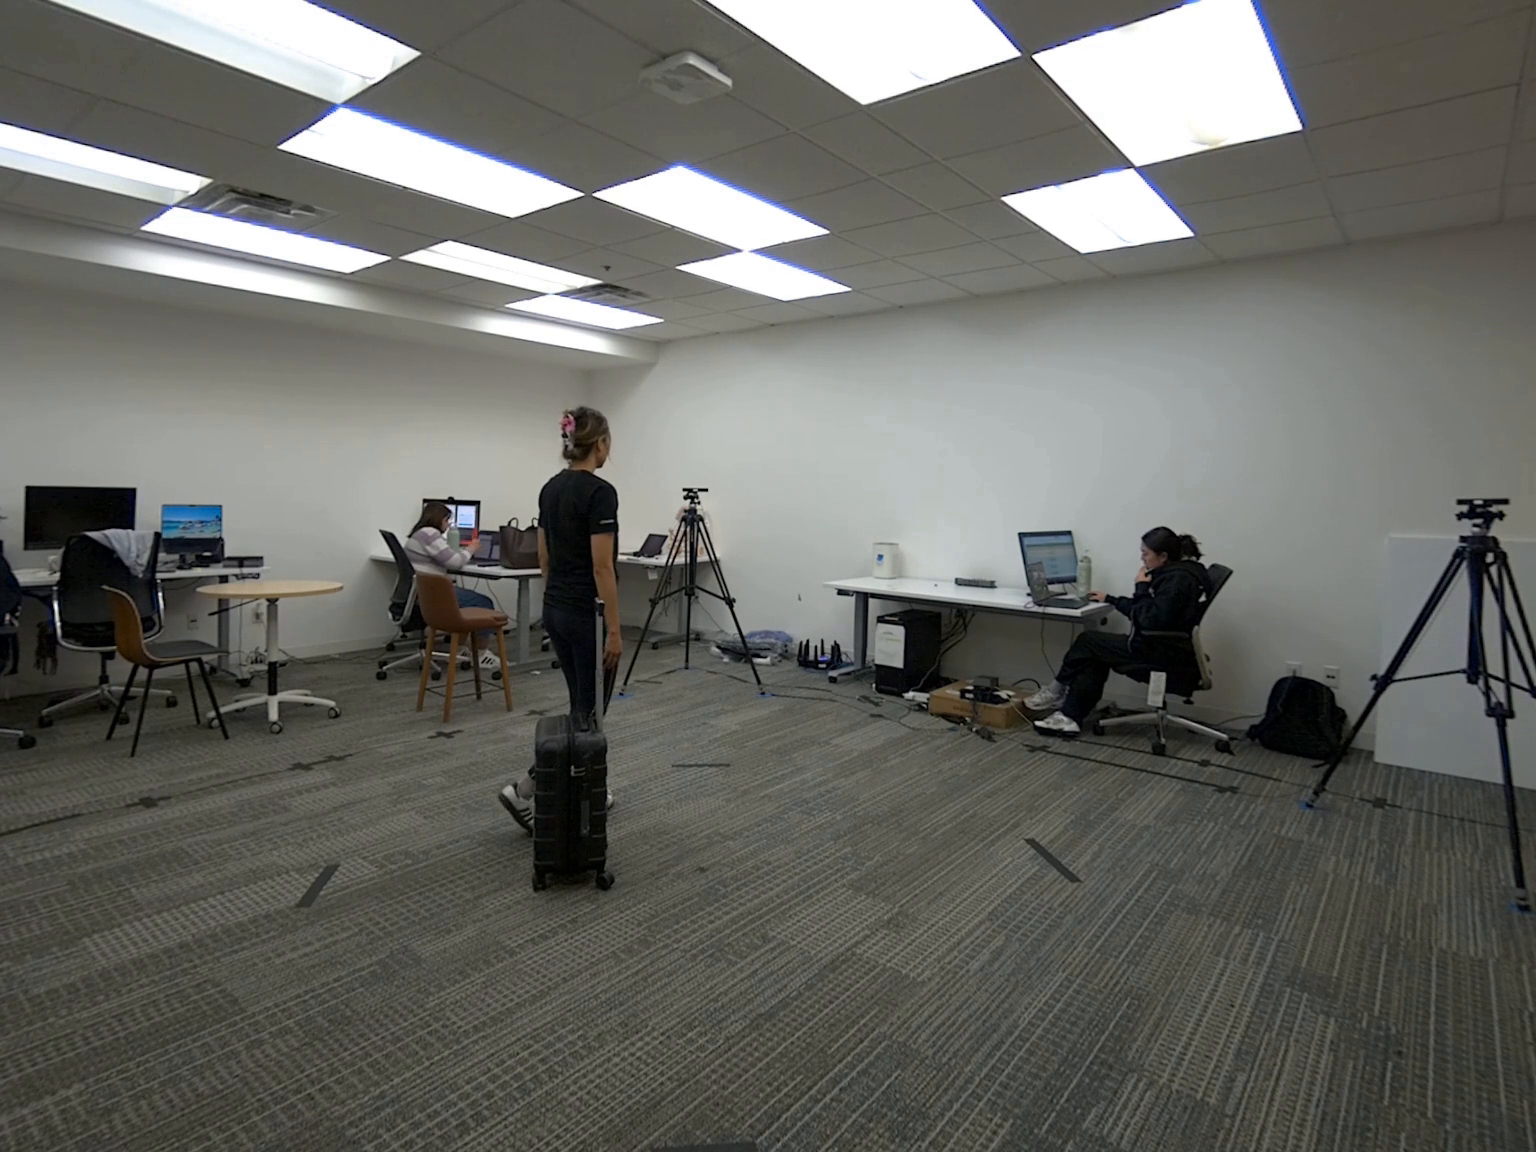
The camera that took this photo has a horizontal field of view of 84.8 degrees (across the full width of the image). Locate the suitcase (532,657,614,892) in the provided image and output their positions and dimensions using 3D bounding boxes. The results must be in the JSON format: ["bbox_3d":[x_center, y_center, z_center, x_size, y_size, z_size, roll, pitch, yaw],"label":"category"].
[{"bbox_3d":[-0.726,0.590,3.058,0.254,0.976,0.389,-2,2,-12],"label":"suitcase"}]
